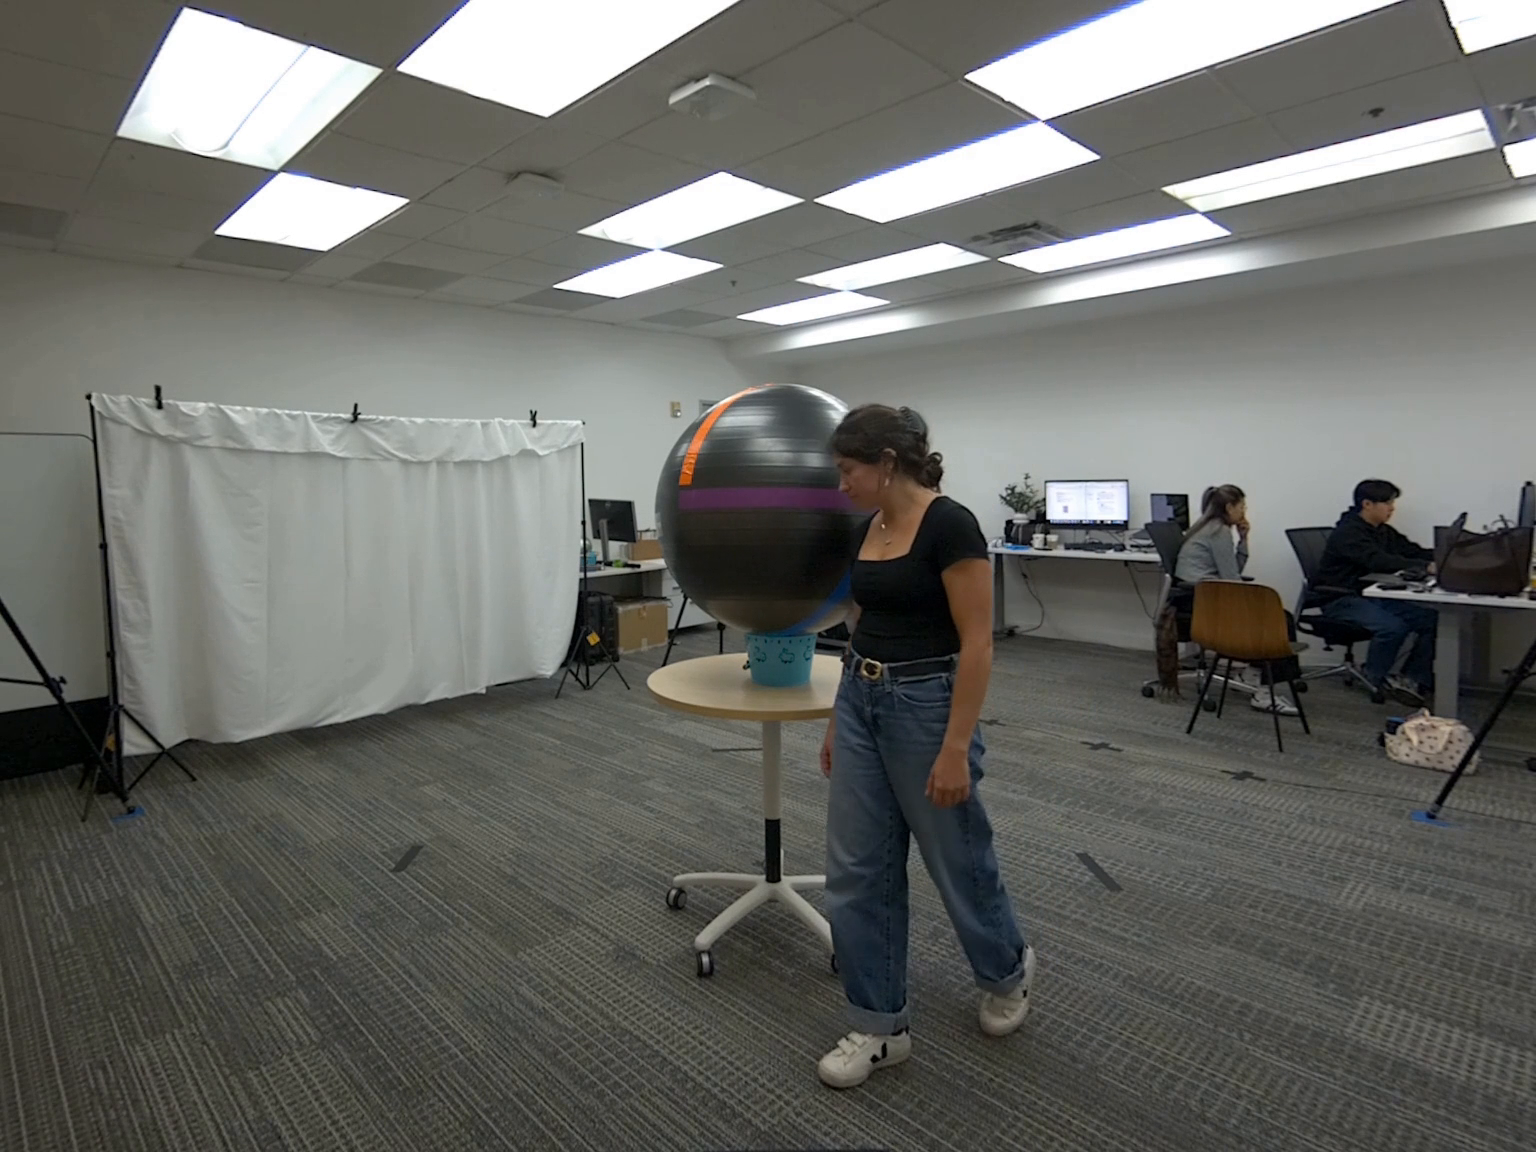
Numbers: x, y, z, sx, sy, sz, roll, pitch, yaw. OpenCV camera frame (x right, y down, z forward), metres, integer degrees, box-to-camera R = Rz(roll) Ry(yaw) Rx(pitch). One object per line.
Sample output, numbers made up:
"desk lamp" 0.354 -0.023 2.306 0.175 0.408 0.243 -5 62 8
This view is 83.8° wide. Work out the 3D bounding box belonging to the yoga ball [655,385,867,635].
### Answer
"yoga ball" 0.035 -0.192 2.579 0.757 0.755 0.762 -1 5 -2
